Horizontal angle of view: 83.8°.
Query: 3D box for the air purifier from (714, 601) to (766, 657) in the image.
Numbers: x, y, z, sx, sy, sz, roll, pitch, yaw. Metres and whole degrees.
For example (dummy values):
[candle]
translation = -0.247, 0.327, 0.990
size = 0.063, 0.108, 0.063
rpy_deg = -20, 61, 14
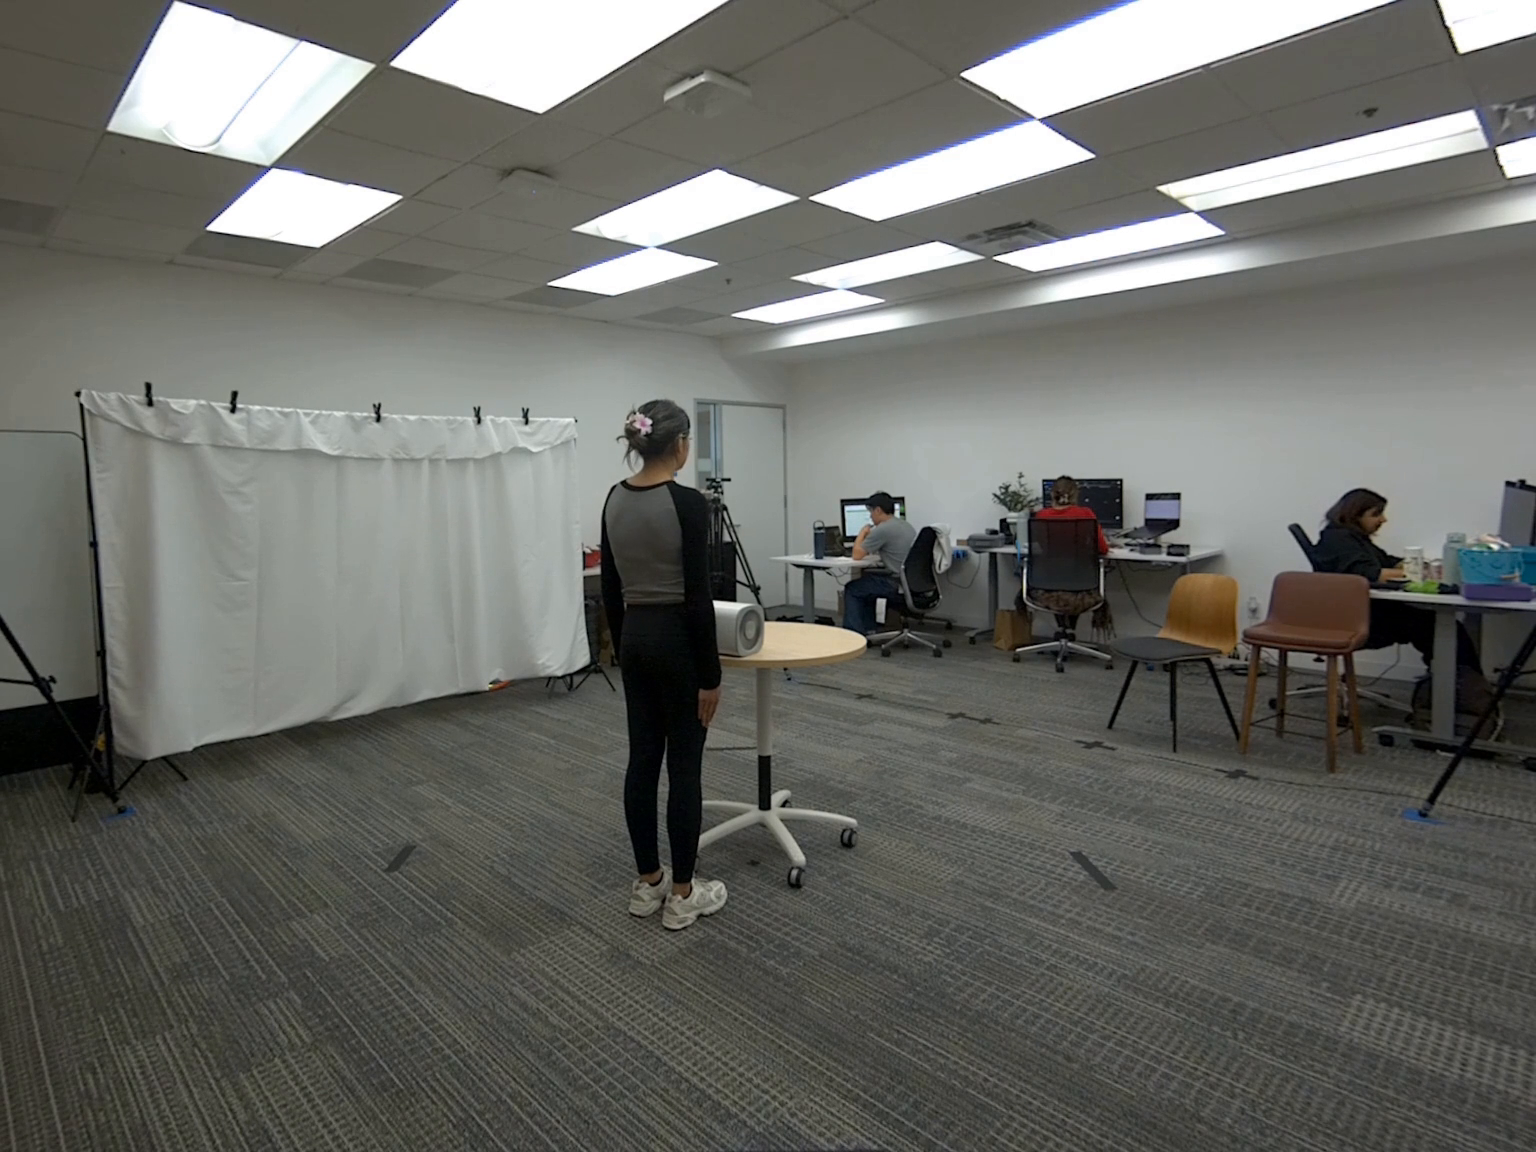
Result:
[air purifier]
translation = -0.167, 0.175, 2.982
size = 0.273, 0.171, 0.167
rpy_deg = 3, 7, 34
